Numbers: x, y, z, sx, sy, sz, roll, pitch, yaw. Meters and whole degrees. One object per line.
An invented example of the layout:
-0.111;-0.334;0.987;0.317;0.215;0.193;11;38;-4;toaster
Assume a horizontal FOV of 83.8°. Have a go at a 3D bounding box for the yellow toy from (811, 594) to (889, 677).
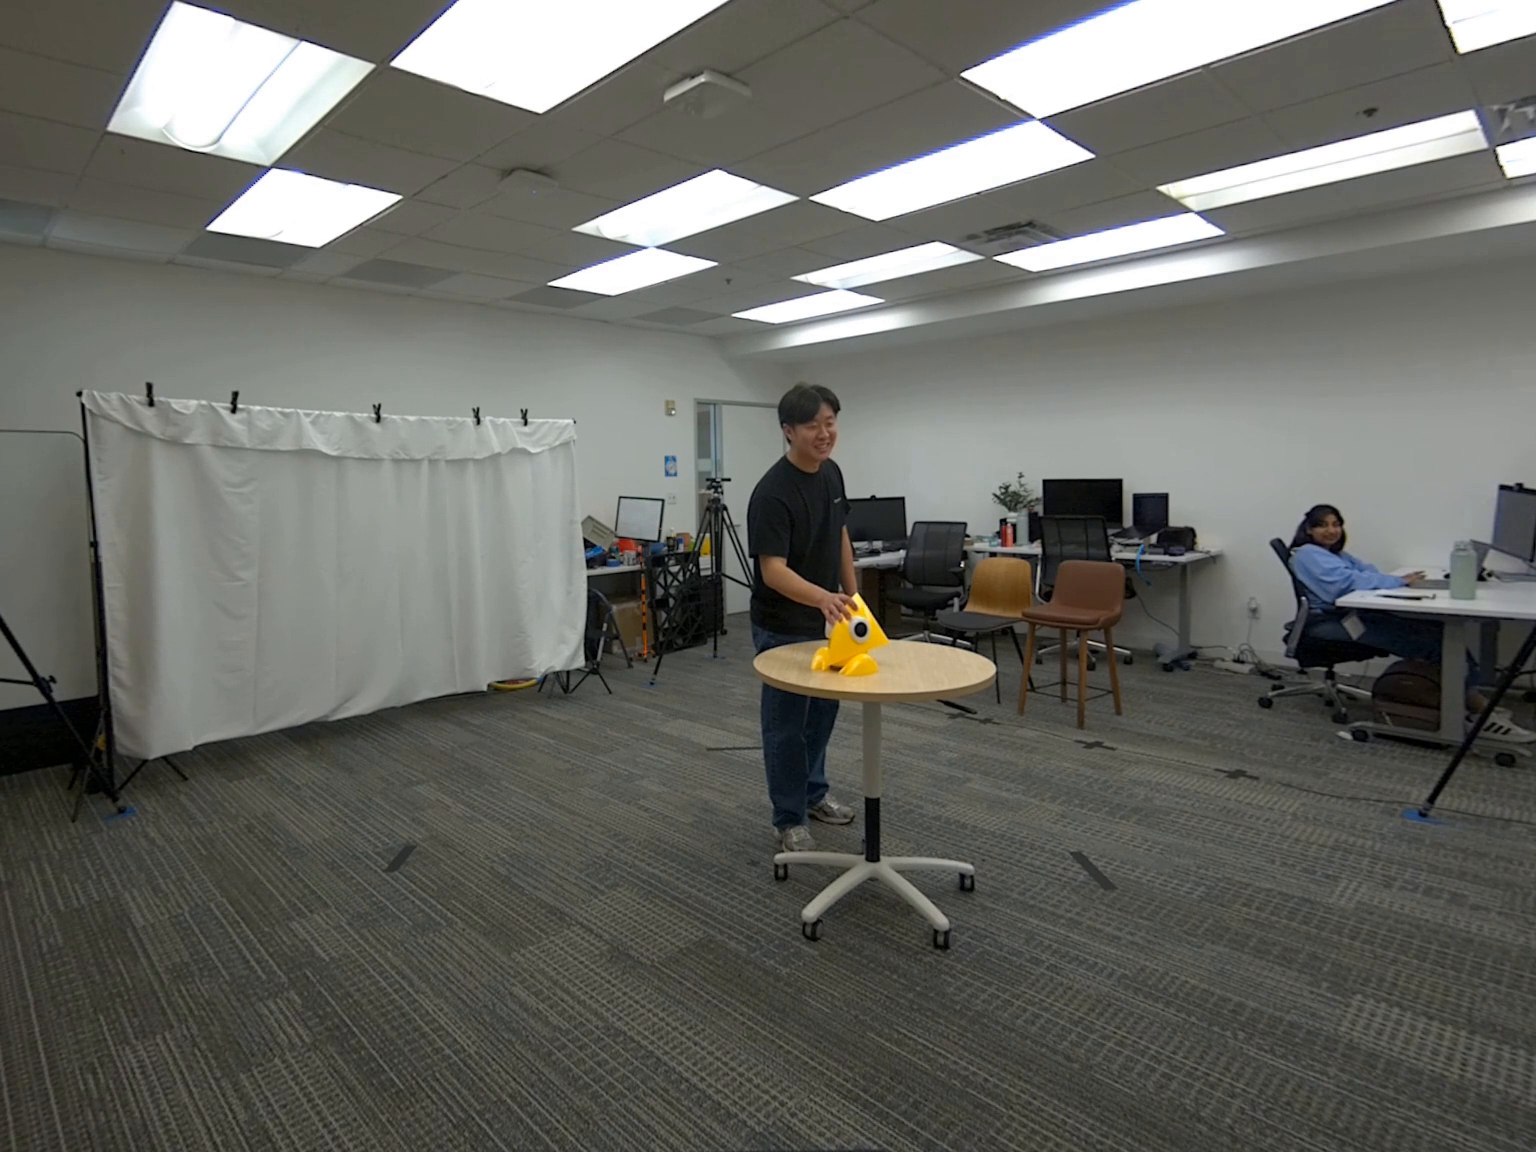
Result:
0.249;0.180;2.679;0.211;0.230;0.188;4;6;42;yellow toy
